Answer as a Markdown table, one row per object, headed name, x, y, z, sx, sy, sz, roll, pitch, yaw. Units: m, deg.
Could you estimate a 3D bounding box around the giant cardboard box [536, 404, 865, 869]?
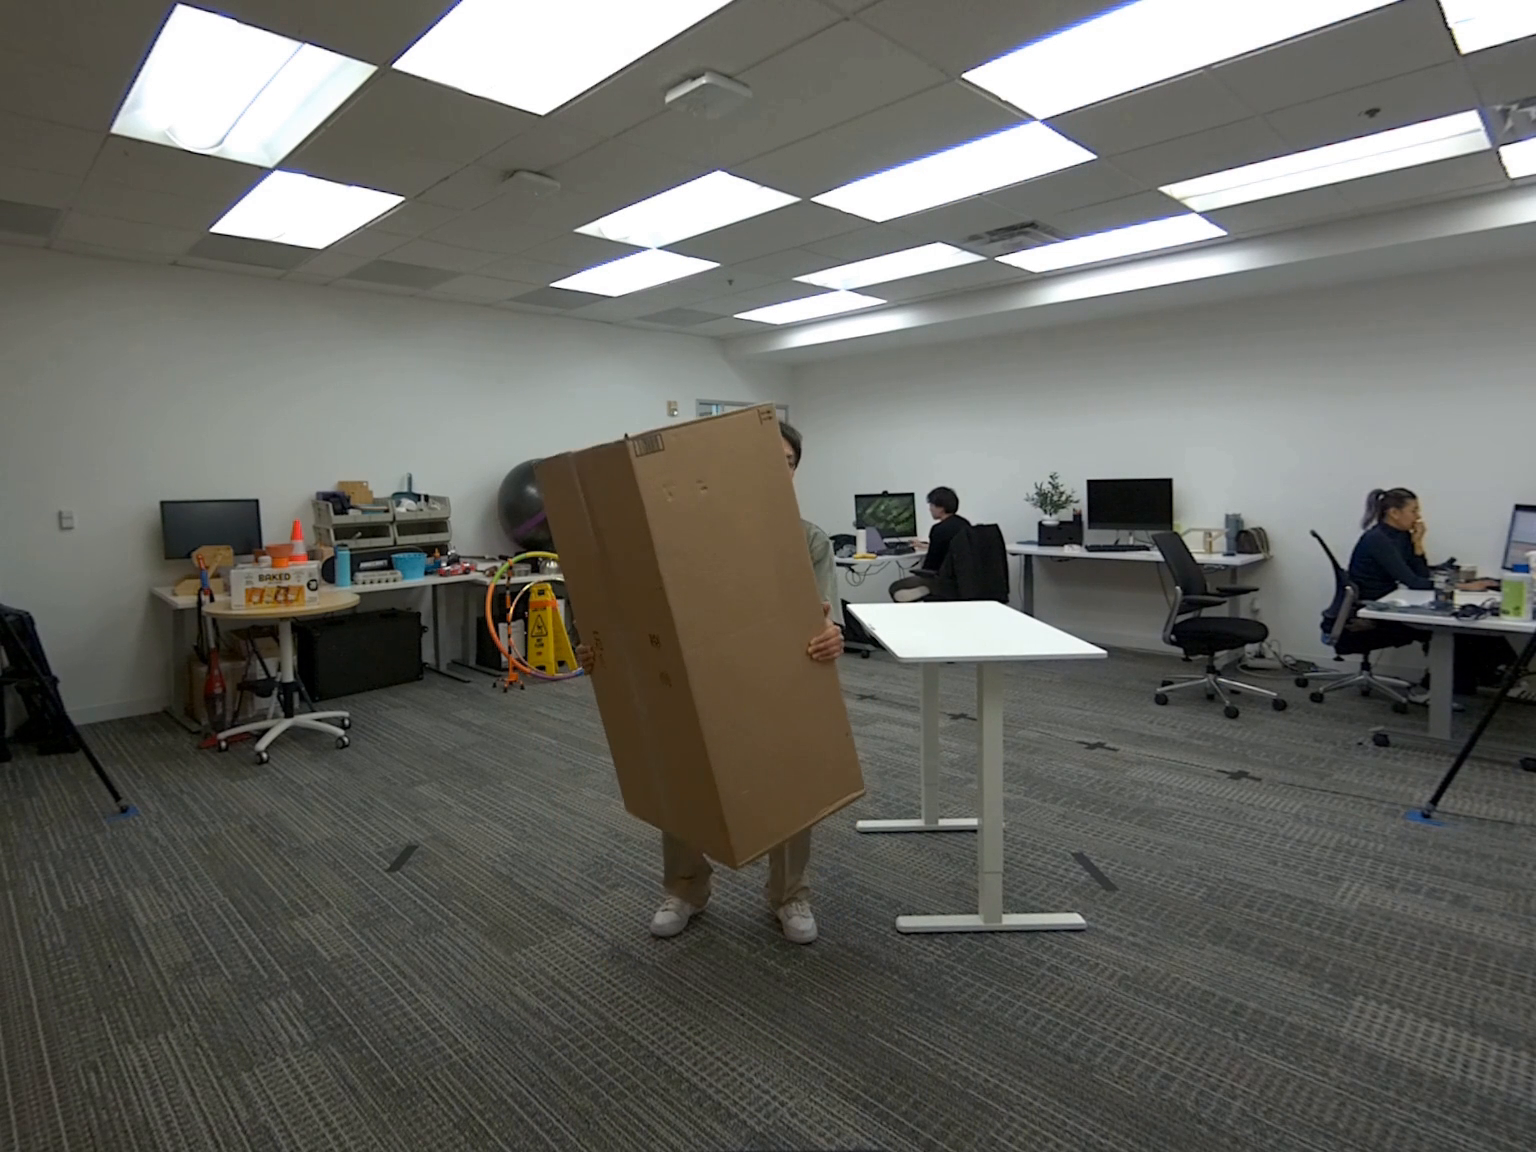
| name | x | y | z | sx | sy | sz | roll | pitch | yaw |
| --- | --- | --- | --- | --- | --- | --- | --- | --- | --- |
| giant cardboard box | -0.193 | 0.129 | 2.245 | 0.419 | 1.018 | 0.592 | -19 | 9 | -33 |
